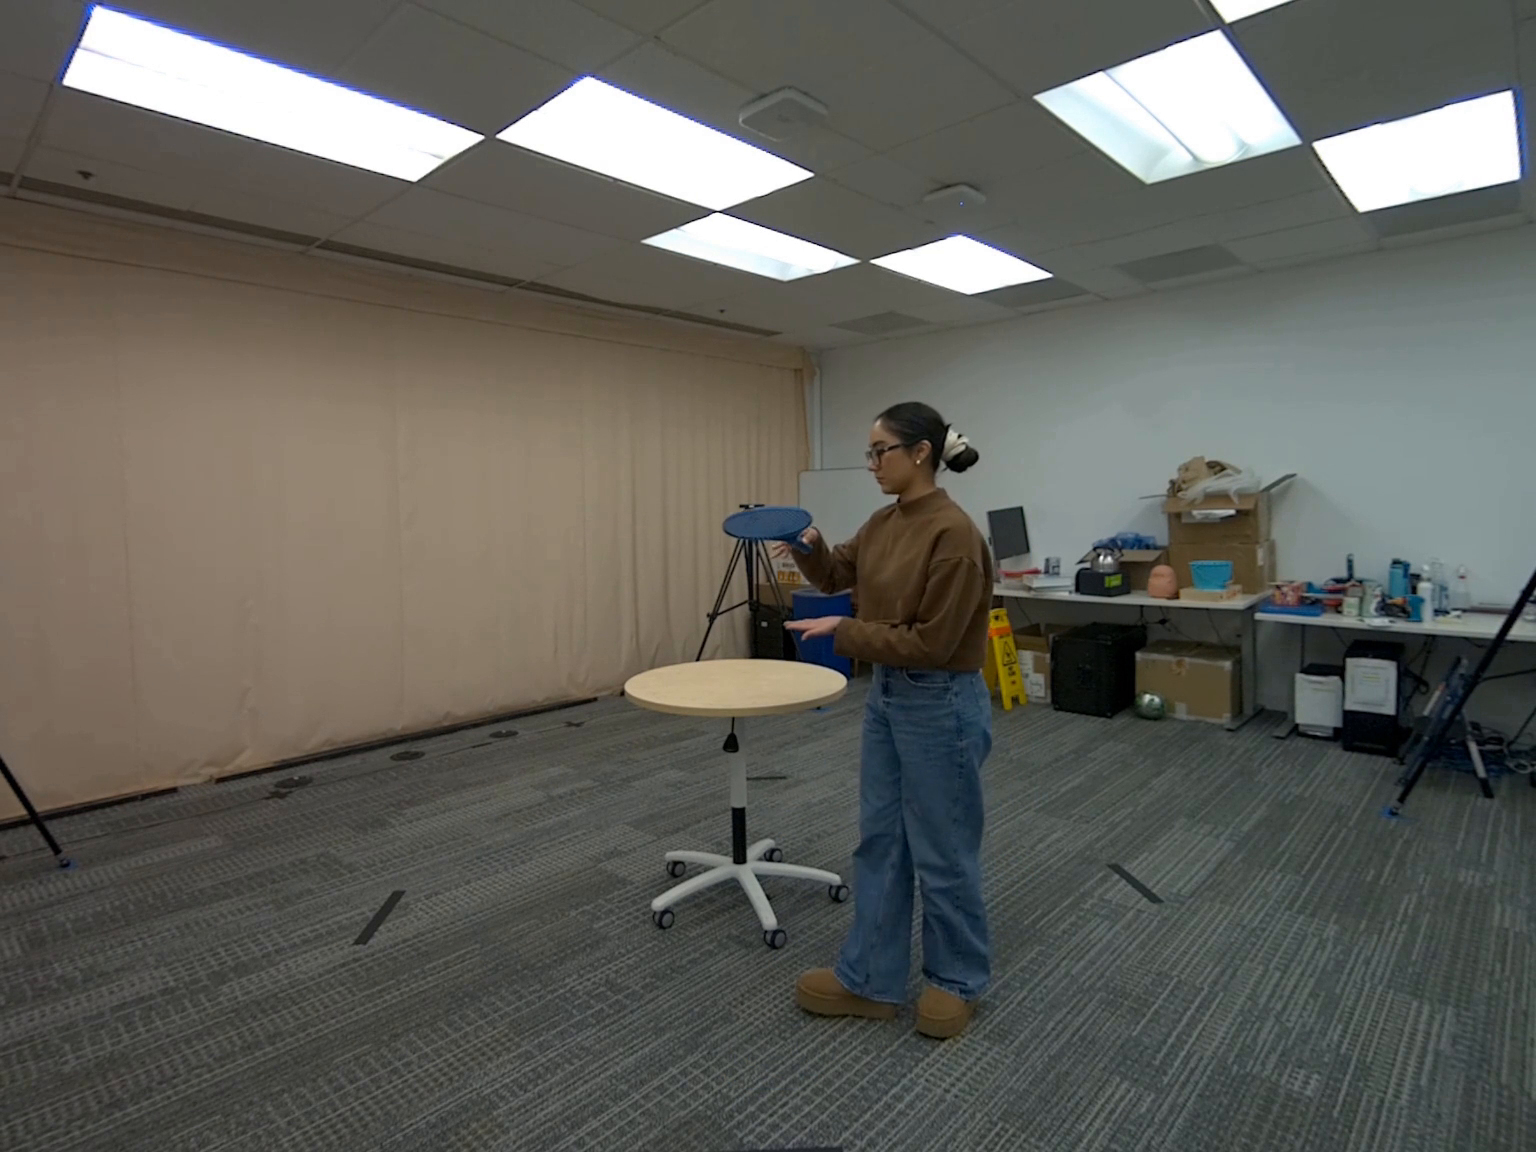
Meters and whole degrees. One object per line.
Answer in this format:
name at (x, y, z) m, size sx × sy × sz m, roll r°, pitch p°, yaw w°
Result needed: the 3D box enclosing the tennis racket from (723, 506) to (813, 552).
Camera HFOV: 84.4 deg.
tennis racket at (0.036, -0.115, 2.132) m, size 0.217 × 0.032 × 0.421 m, roll -10°, pitch -13°, yaw 18°
